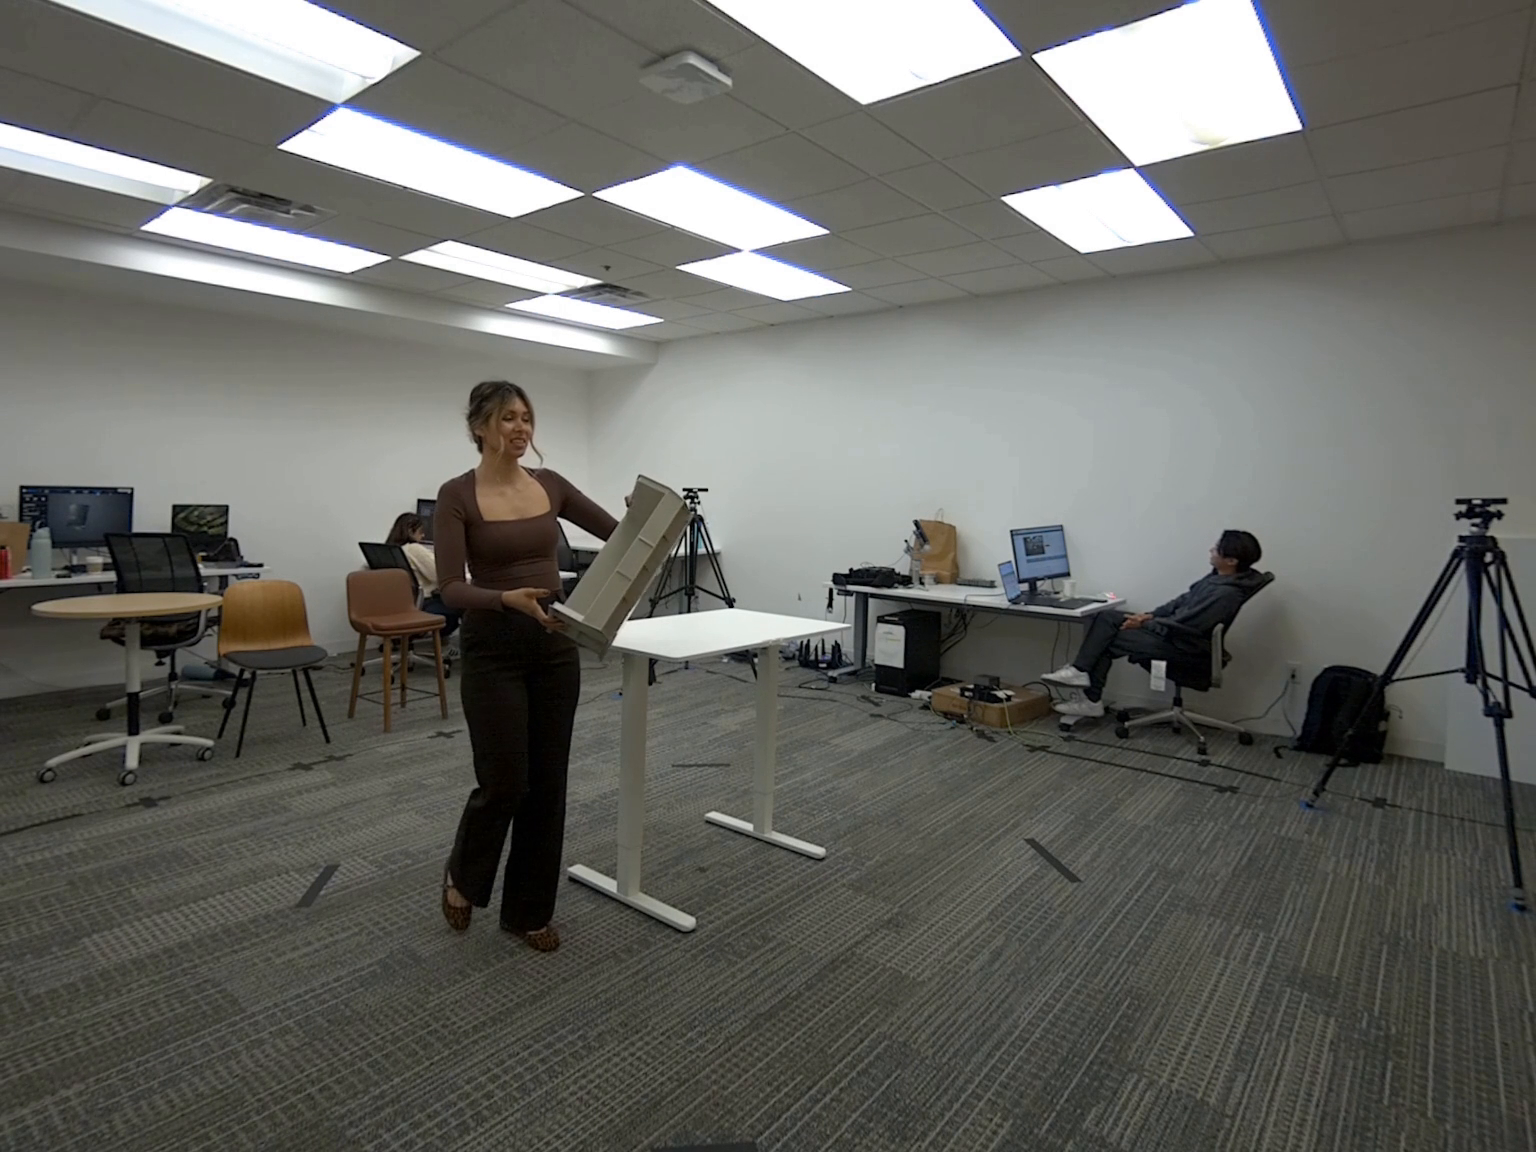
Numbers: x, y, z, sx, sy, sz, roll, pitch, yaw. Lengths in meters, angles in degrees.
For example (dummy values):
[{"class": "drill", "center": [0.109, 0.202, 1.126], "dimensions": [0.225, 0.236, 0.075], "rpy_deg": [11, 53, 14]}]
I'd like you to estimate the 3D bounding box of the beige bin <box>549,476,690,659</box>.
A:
[{"class": "beige bin", "center": [-0.412, -0.013, 2.284], "dimensions": [0.188, 0.424, 0.376], "rpy_deg": [32, -20, -3]}]
